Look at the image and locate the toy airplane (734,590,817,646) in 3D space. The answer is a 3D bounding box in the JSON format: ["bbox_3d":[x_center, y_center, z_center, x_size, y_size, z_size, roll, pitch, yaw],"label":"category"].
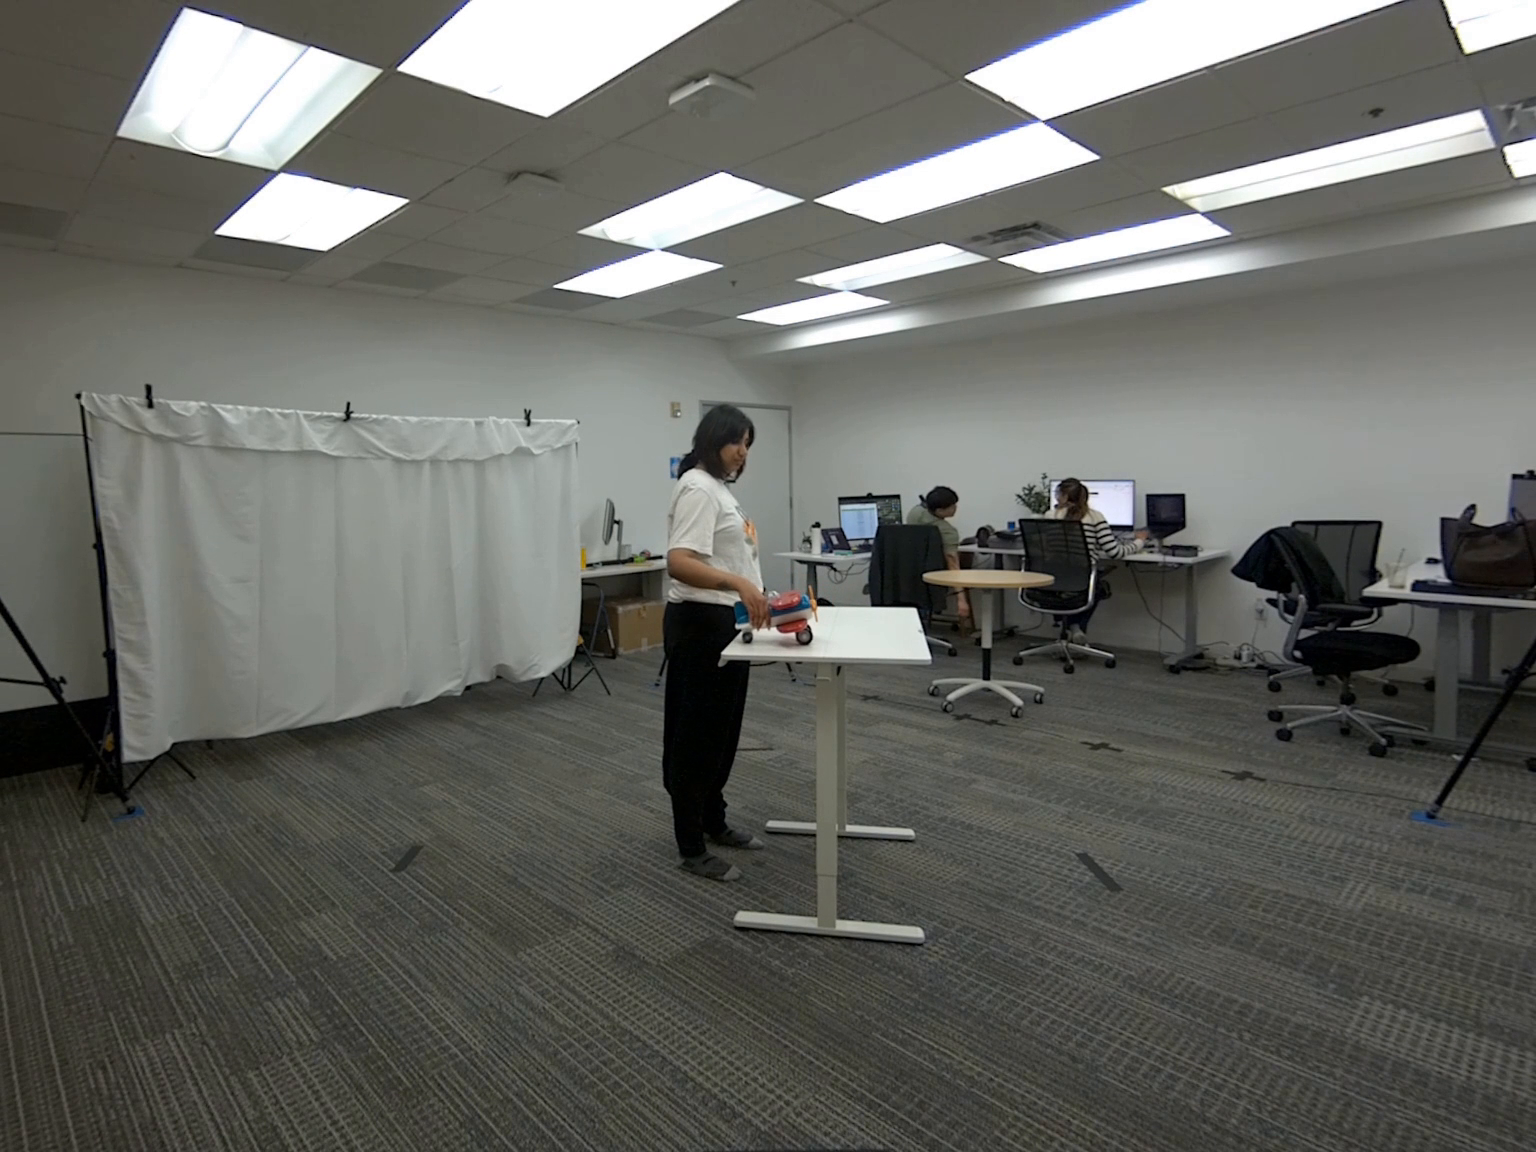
[{"bbox_3d":[0.041,0.134,2.652,0.253,0.156,0.258,-1,6,-26],"label":"toy airplane"}]
